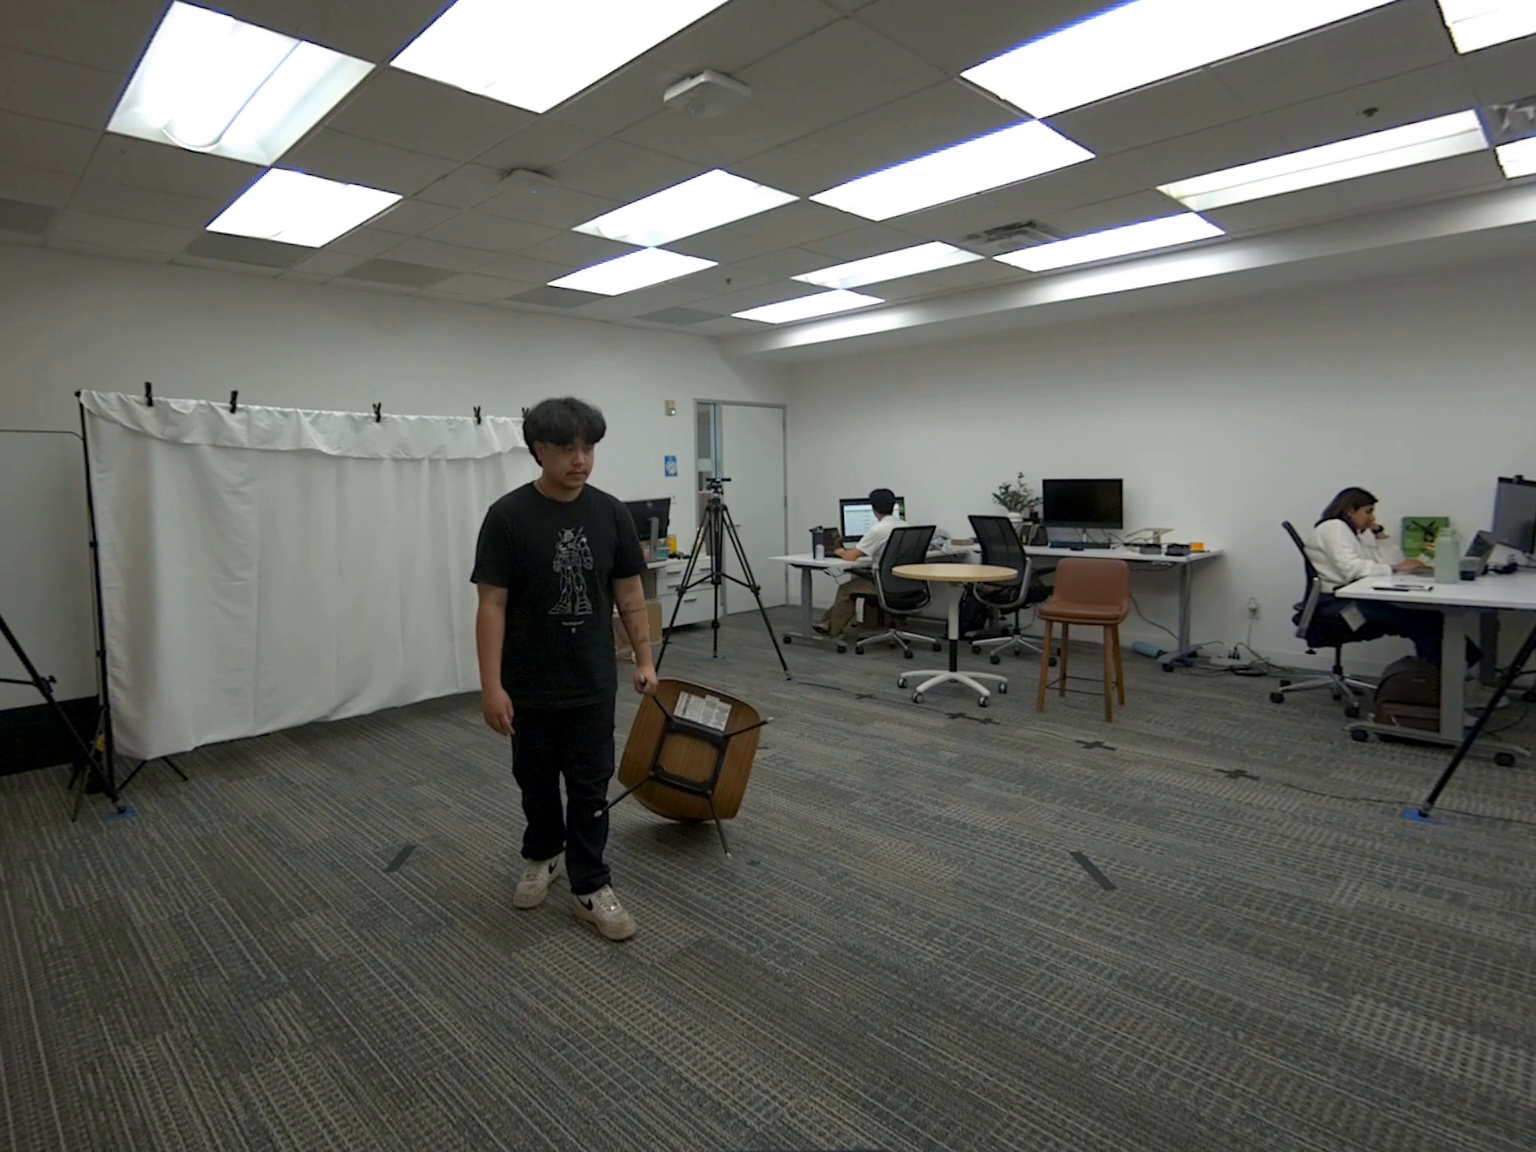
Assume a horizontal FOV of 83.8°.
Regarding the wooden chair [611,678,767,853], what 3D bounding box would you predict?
[{"bbox_3d":[-0.286,0.663,3.138,0.479,0.527,0.869,17,-14,-1],"label":"wooden chair"}]
